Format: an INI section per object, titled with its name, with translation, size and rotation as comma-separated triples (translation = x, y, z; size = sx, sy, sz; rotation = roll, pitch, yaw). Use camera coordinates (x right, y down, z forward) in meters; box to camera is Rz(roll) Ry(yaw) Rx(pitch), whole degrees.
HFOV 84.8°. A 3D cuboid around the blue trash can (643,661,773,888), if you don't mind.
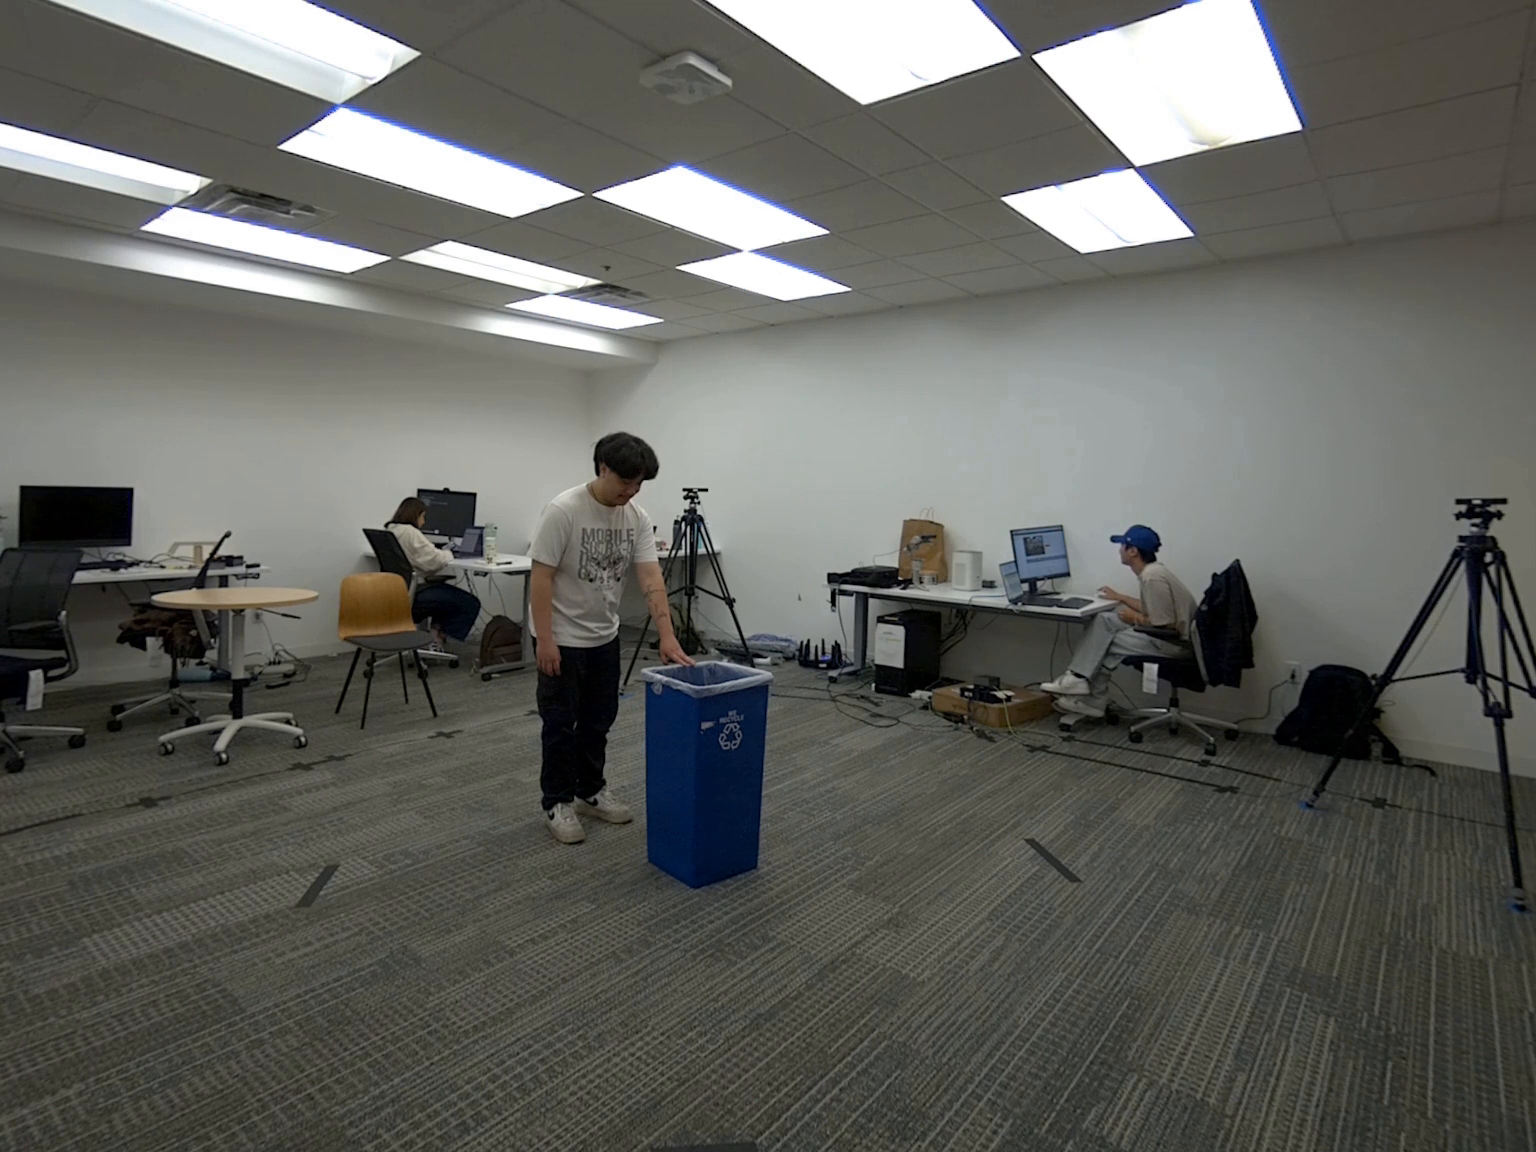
[blue trash can]
translation = -0.239, 0.706, 3.145
size = 0.363, 0.711, 0.391
rotation = -2, 4, -41
